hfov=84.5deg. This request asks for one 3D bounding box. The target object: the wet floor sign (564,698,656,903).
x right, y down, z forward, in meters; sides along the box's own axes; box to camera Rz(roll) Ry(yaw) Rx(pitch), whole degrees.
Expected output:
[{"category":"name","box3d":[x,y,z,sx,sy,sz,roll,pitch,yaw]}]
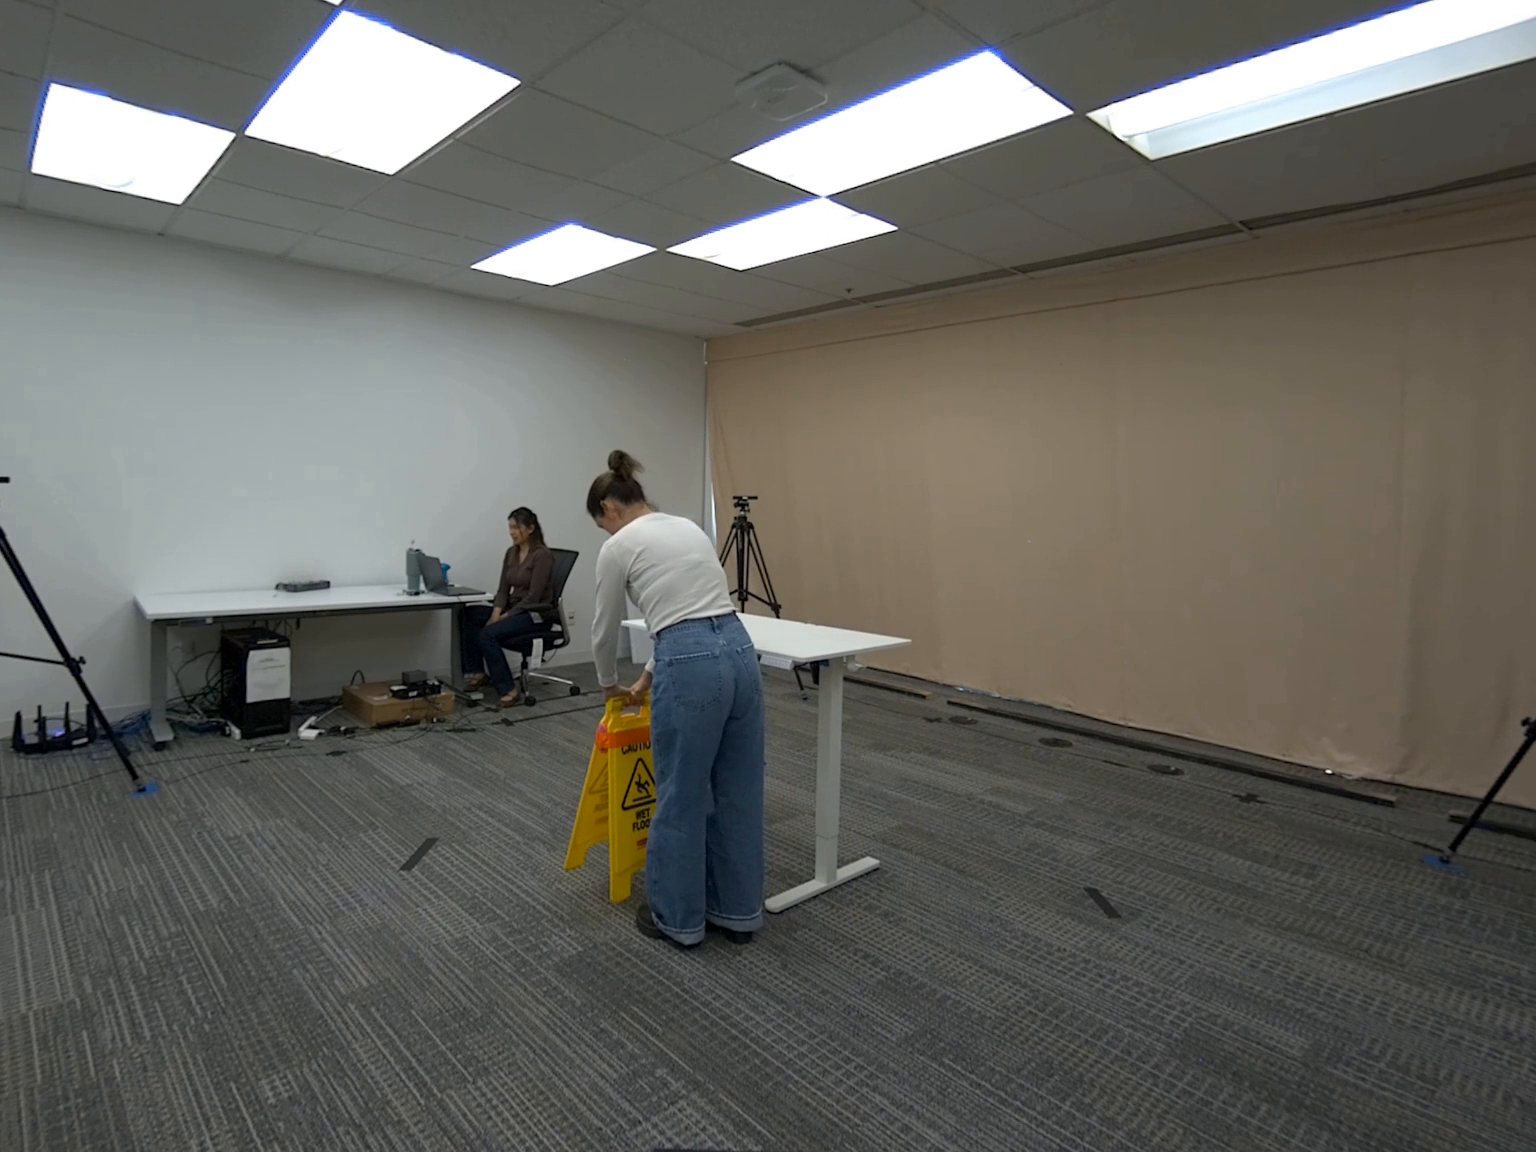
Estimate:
[{"category":"wet floor sign","box3d":[-0.494,0.722,2.895,0.297,0.644,0.275,10,7,41]}]
